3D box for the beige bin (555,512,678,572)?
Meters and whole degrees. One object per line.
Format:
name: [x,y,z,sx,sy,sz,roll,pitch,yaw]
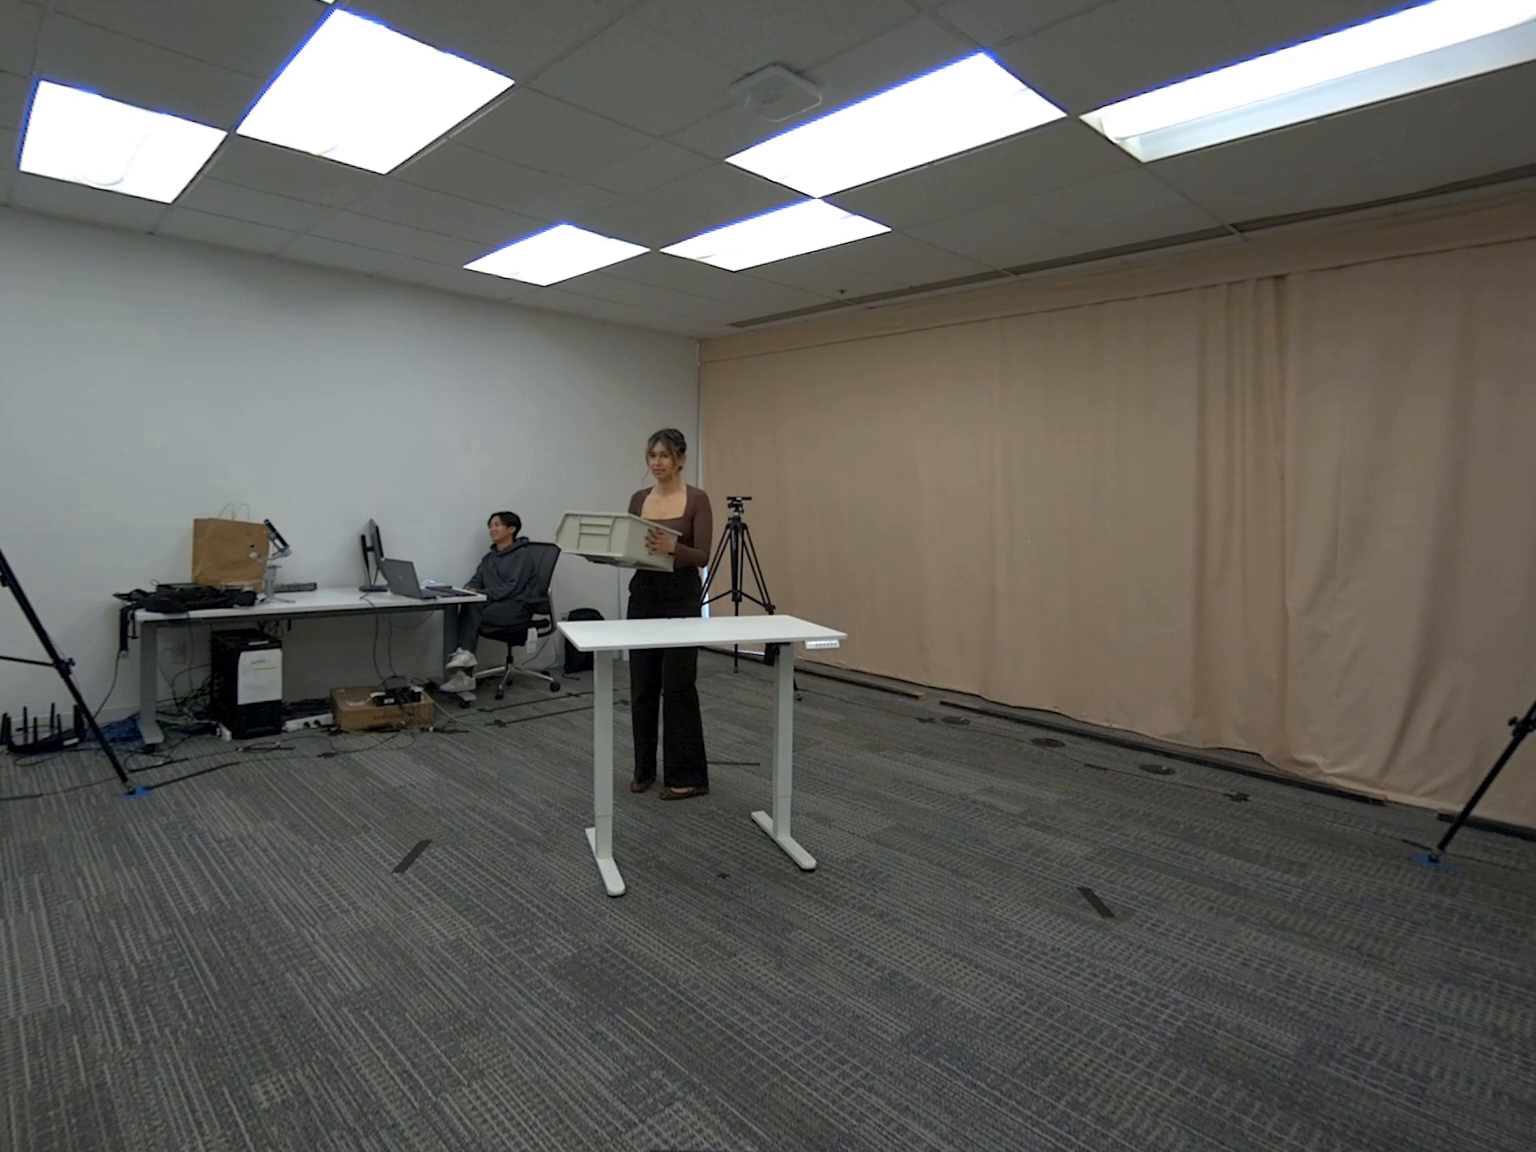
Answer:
beige bin: [-0.662,-0.149,3.695,0.385,0.190,0.412,6,-6,27]
